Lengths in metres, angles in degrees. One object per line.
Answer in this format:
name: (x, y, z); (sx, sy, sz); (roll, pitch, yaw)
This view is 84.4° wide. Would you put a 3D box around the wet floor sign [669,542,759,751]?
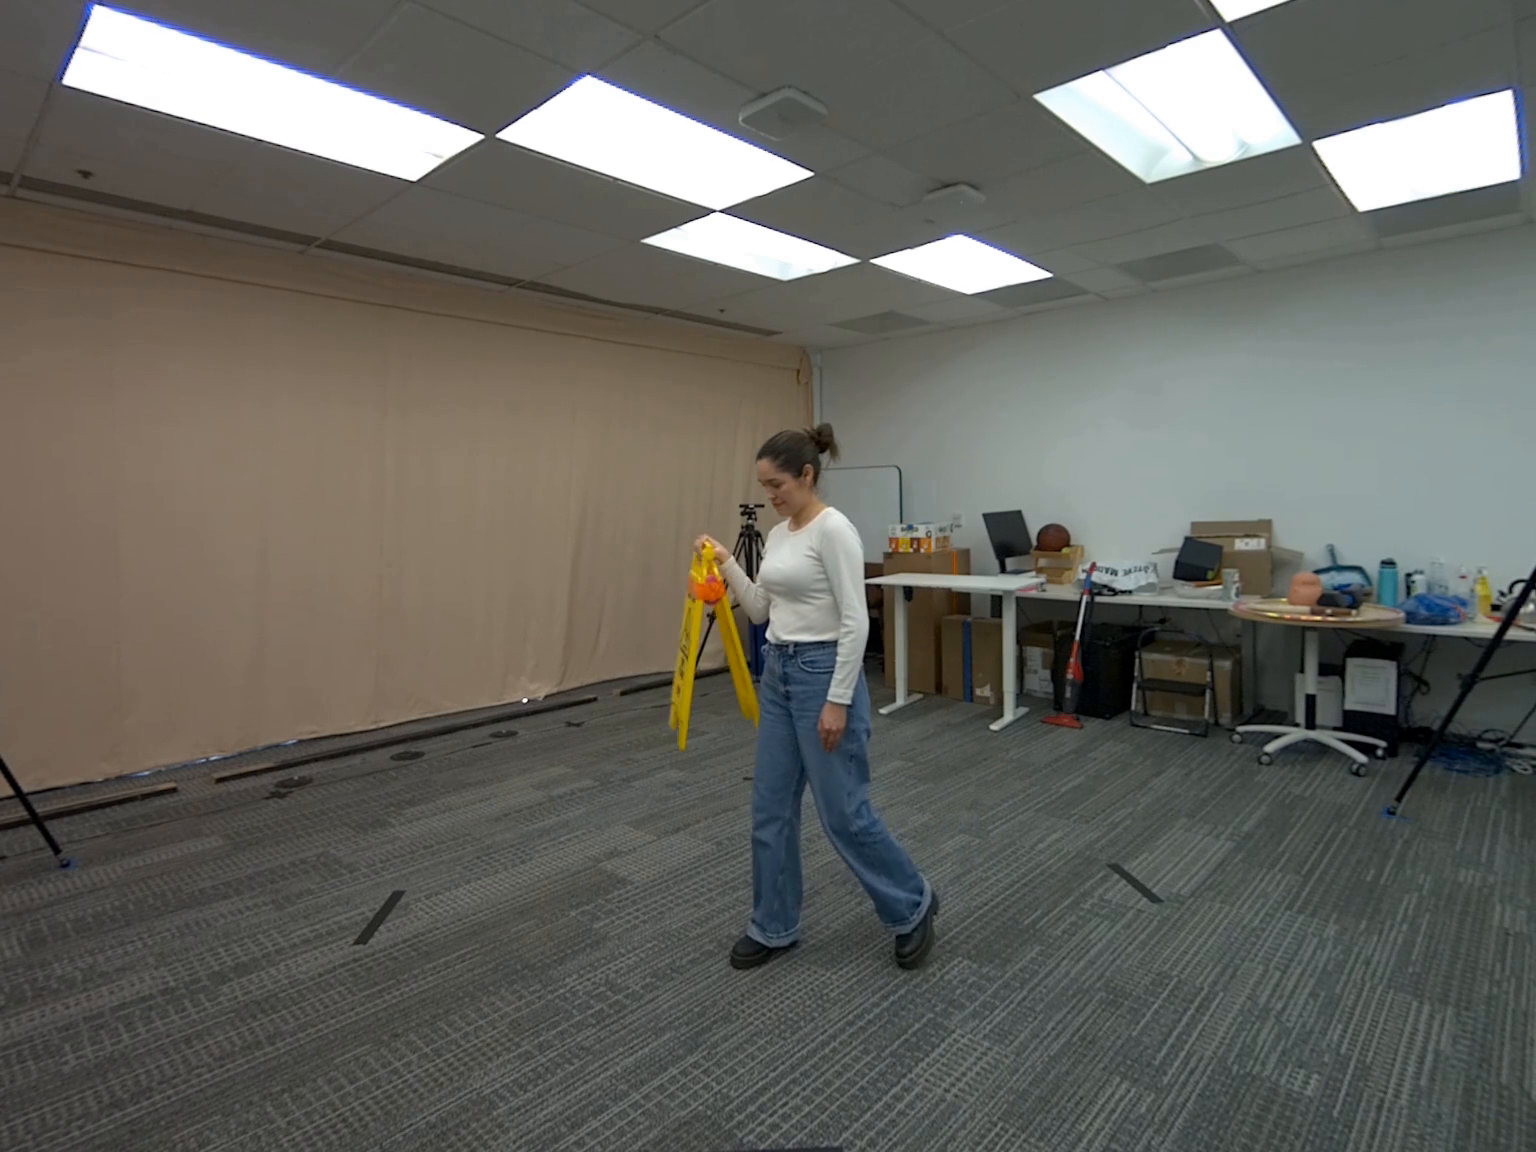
wet floor sign: (-0.184, 0.210, 2.783); (0.285, 0.642, 0.288); (-5, 9, -16)
